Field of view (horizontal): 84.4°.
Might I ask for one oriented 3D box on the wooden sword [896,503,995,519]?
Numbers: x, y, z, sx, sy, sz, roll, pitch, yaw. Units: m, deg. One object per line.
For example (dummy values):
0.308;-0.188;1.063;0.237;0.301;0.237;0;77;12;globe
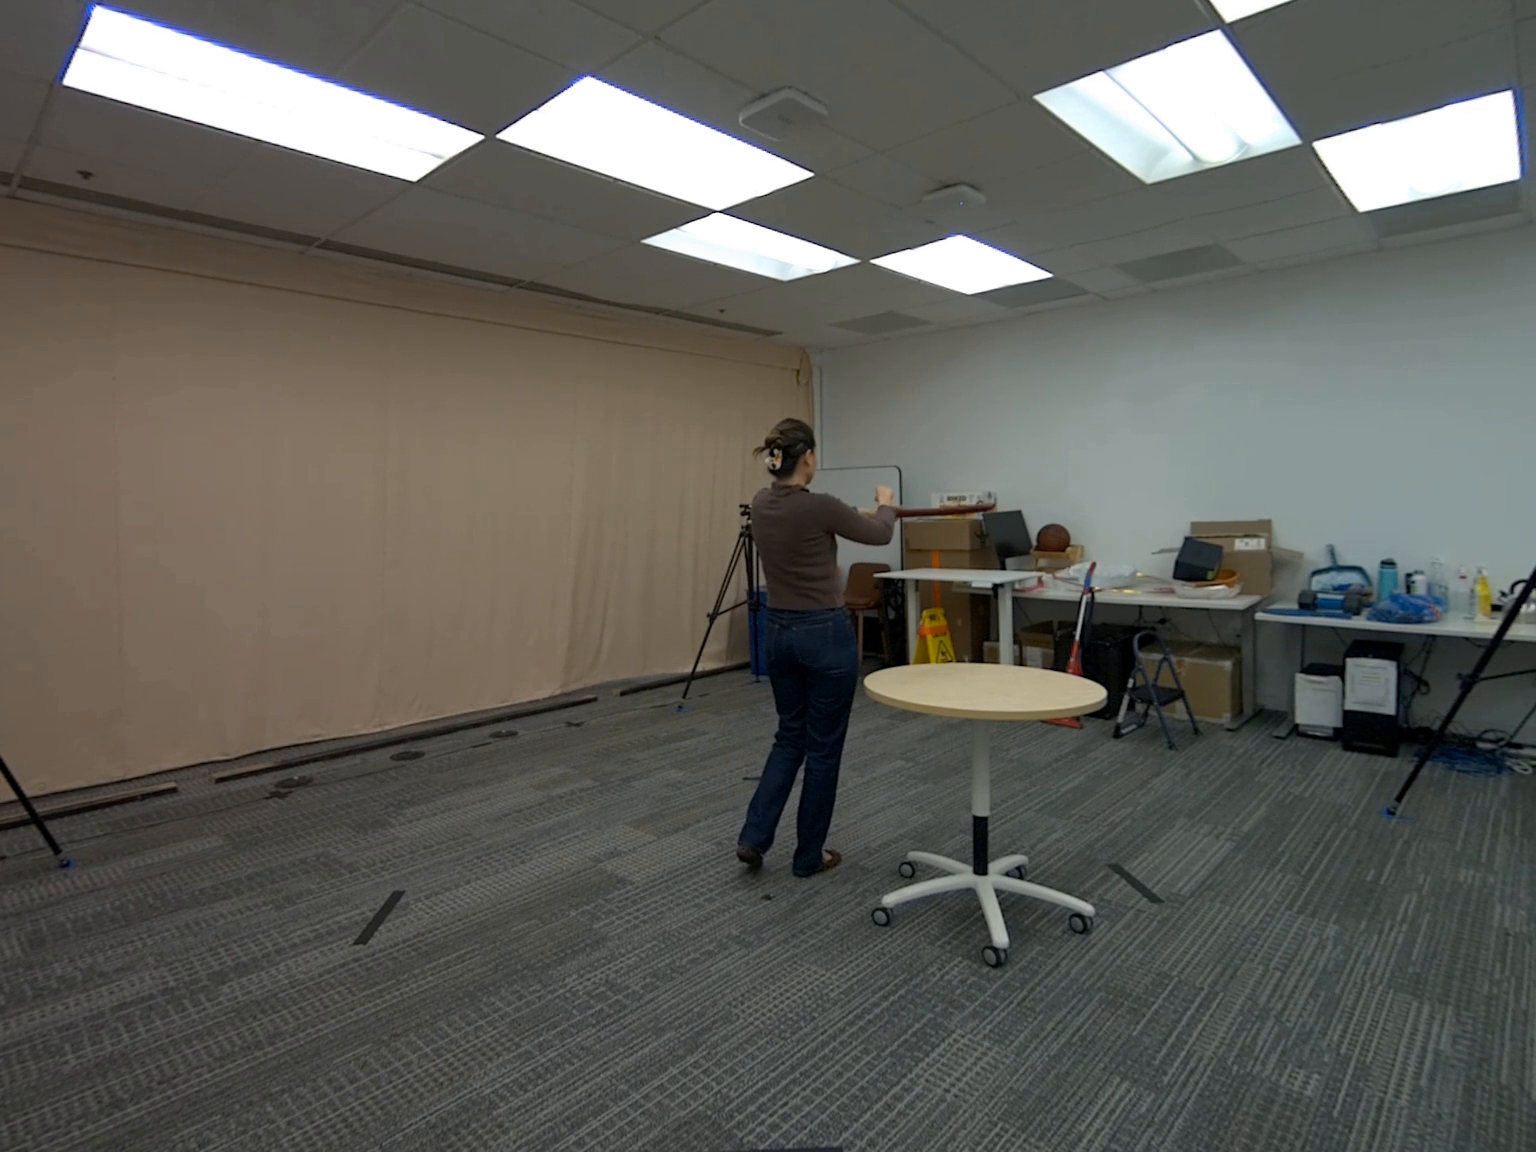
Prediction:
0.488;-0.266;3.493;0.023;0.051;1.057;34;-18;-33;wooden sword
